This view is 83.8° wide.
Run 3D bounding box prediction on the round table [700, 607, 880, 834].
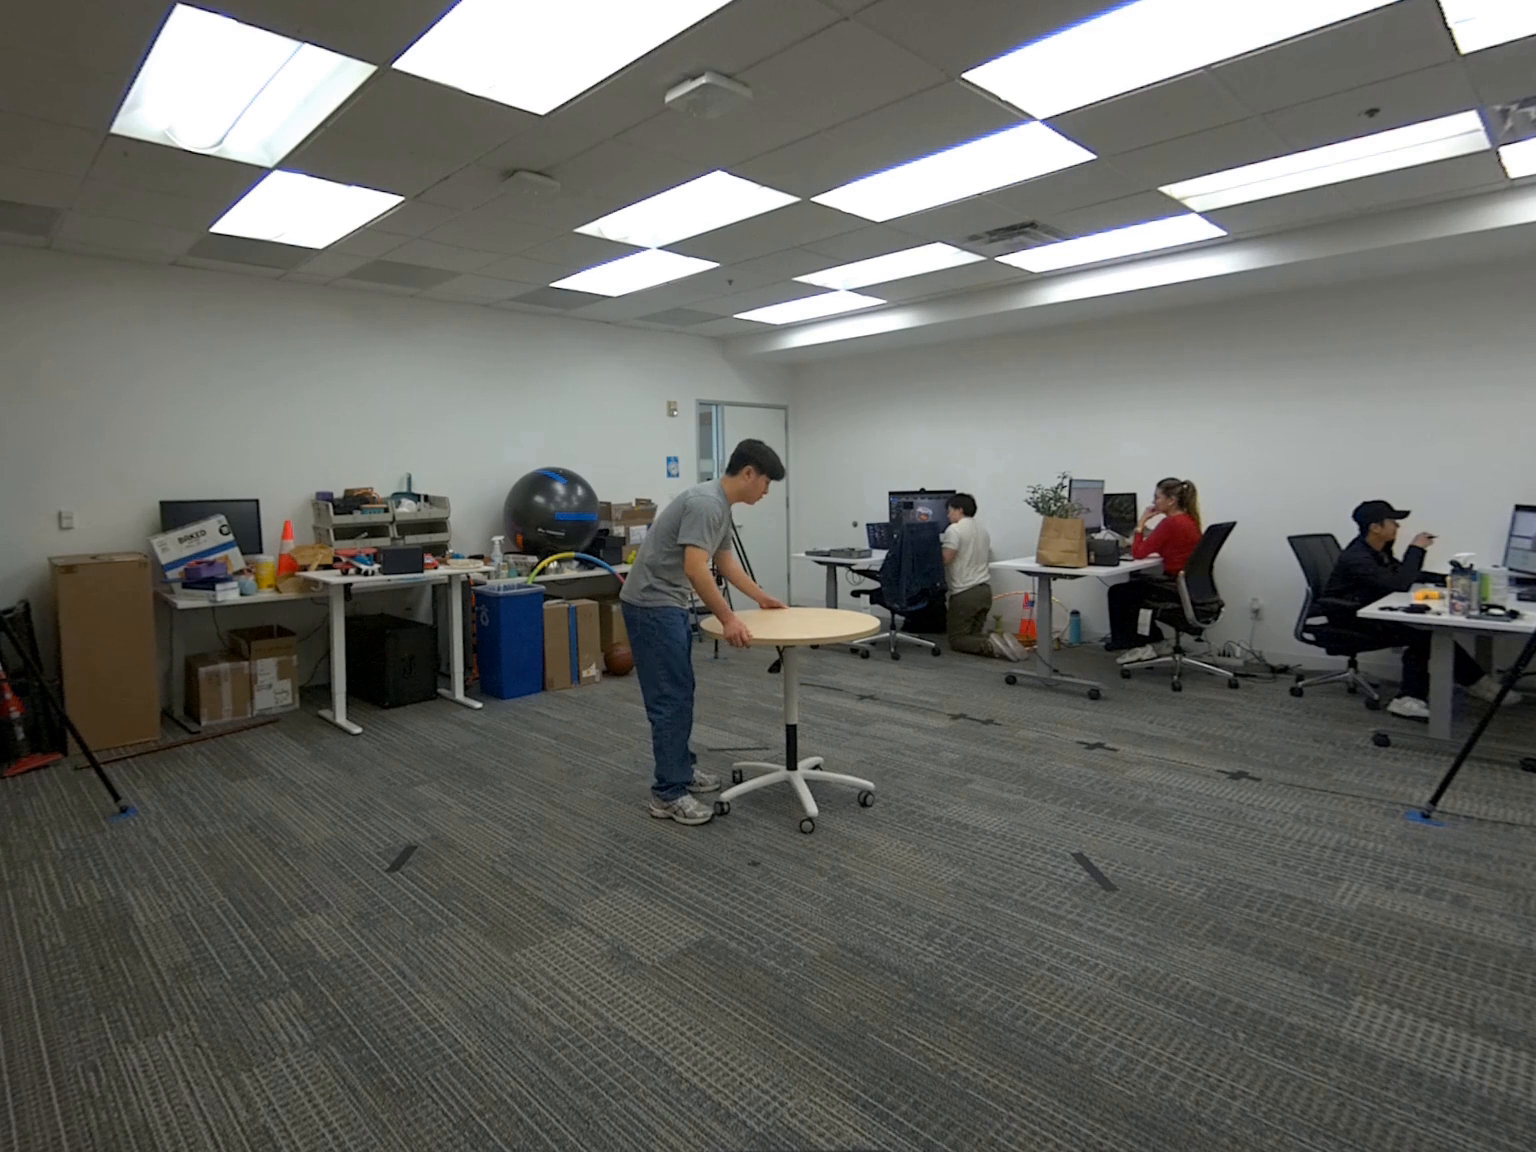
[{"bbox_3d":[0.097,0.586,3.673,0.763,0.791,0.768,-1,5,-2],"label":"round table"}]
